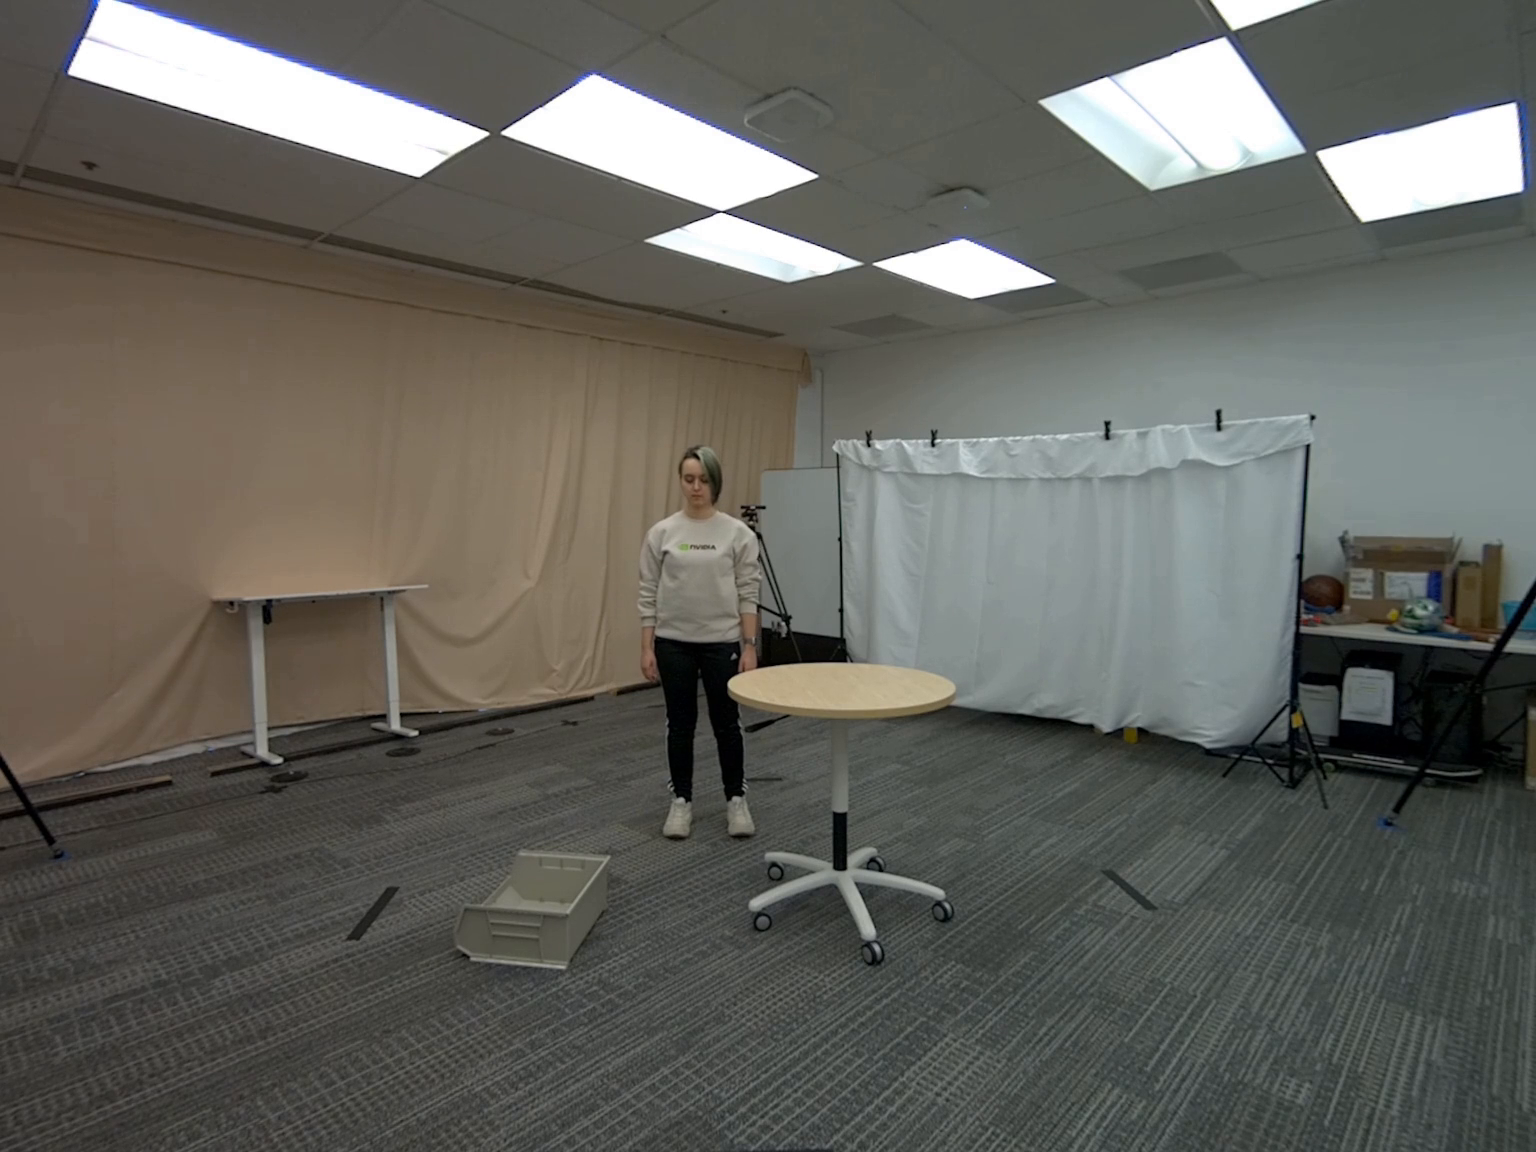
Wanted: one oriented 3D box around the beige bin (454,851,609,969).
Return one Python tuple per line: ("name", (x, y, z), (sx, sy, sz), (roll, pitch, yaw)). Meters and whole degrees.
("beige bin", (-0.765, 1.080, 2.755), (0.381, 0.188, 0.419), (2, 4, 9))
